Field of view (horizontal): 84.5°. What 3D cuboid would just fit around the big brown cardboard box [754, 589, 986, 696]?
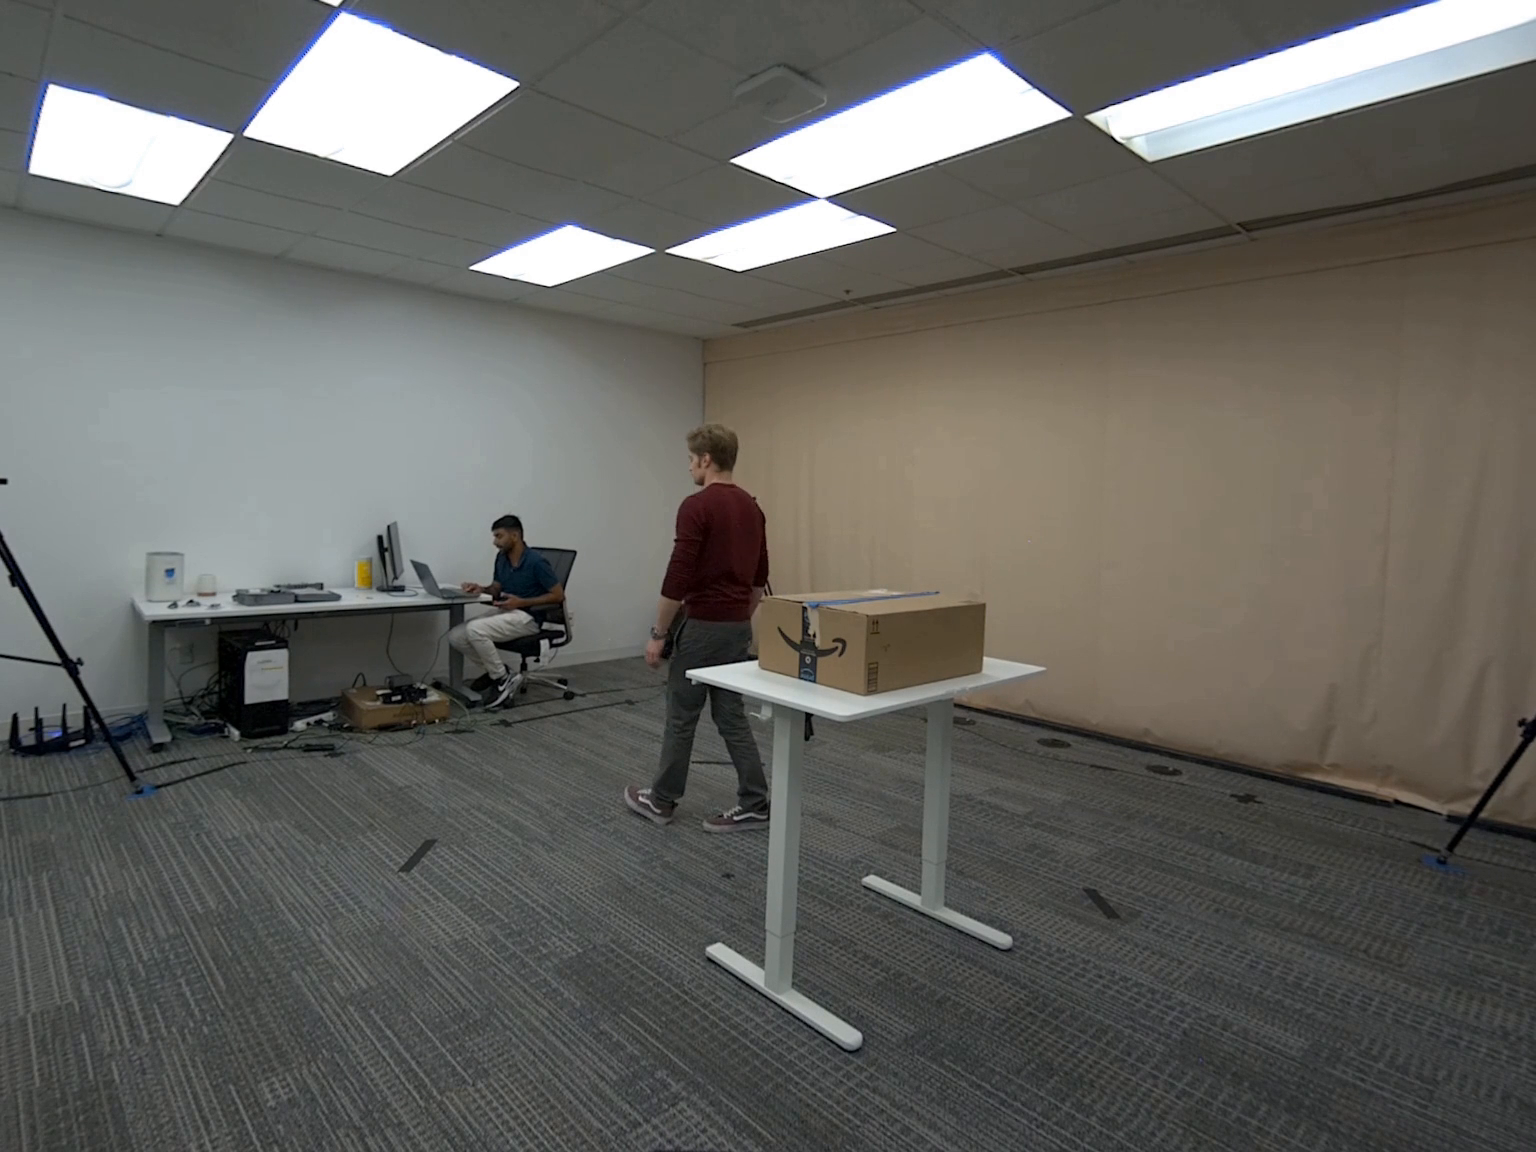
[{"bbox_3d":[0.315,0.178,2.541,0.575,0.232,0.428,-3,7,-42],"label":"big brown cardboard box"}]
